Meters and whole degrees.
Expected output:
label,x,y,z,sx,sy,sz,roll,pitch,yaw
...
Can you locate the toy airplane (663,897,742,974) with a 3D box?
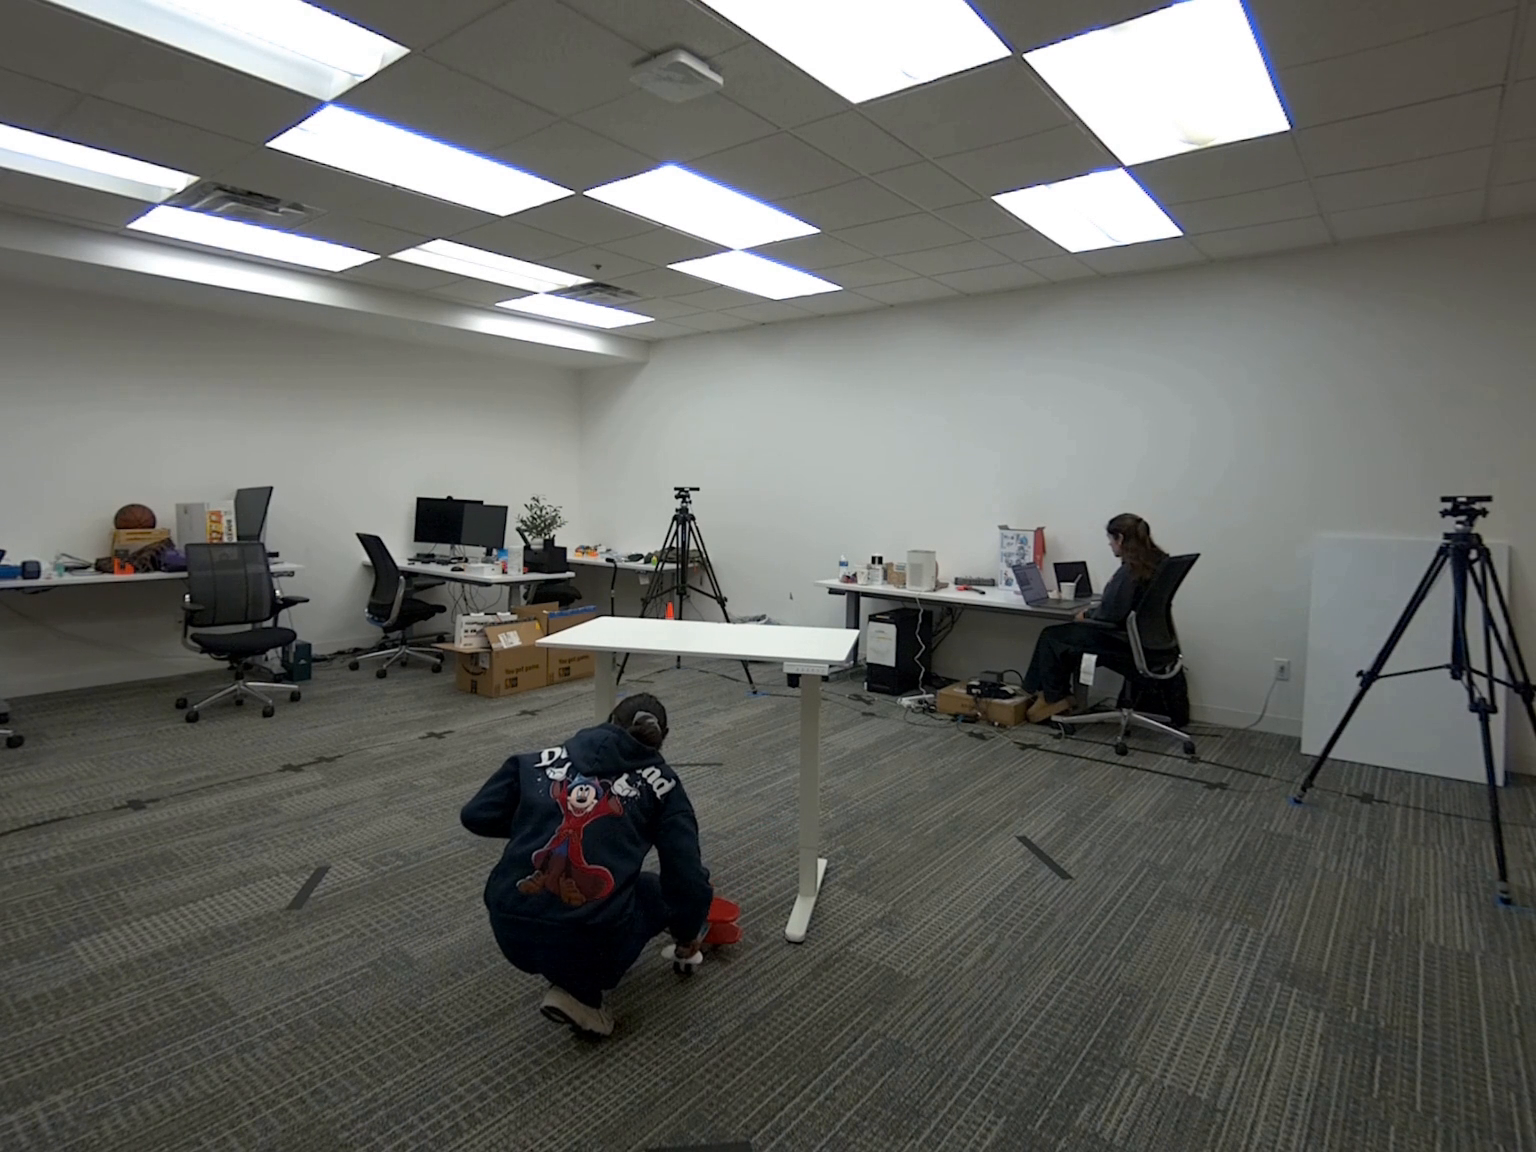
label,x,y,z,sx,sy,sz,roll,pitch,yaw
toy airplane,-0.186,1.047,2.535,0.248,0.156,0.264,-2,5,-14
